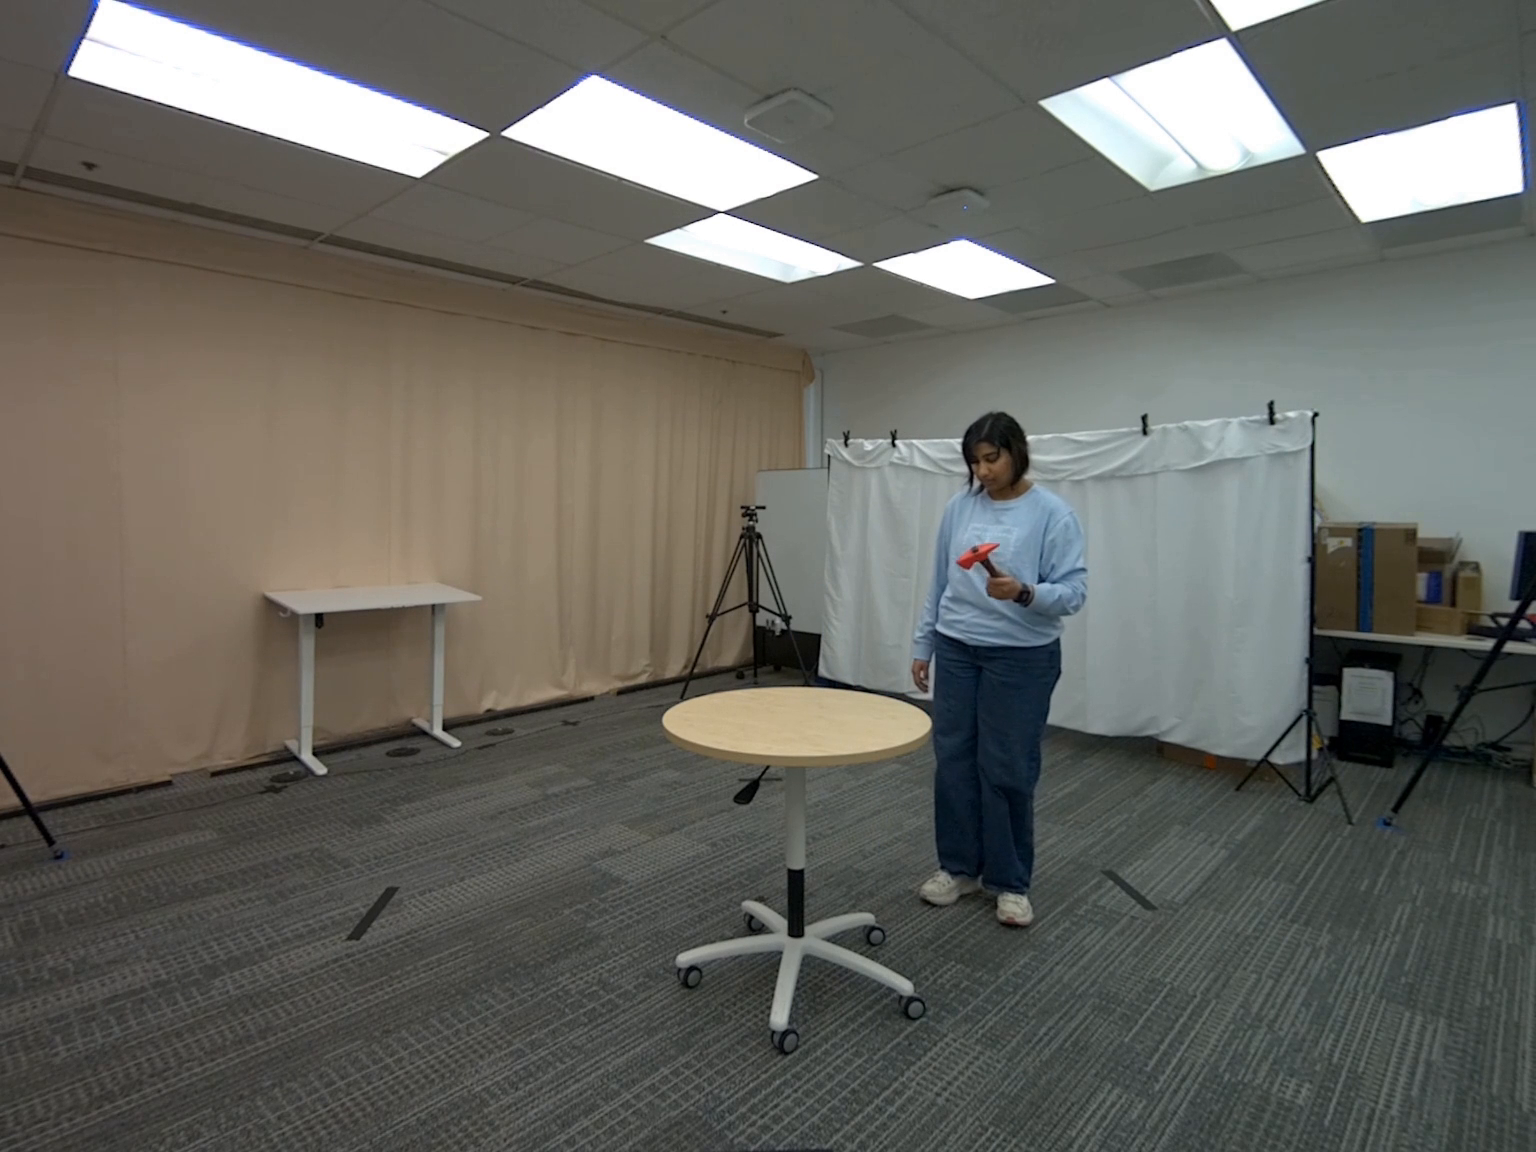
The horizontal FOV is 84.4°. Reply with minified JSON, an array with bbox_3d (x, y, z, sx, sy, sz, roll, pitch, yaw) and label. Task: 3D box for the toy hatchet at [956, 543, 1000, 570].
[{"bbox_3d":[0.638,-0.005,2.531,0.132,0.030,0.262,-16,-37,9],"label":"toy hatchet"}]
